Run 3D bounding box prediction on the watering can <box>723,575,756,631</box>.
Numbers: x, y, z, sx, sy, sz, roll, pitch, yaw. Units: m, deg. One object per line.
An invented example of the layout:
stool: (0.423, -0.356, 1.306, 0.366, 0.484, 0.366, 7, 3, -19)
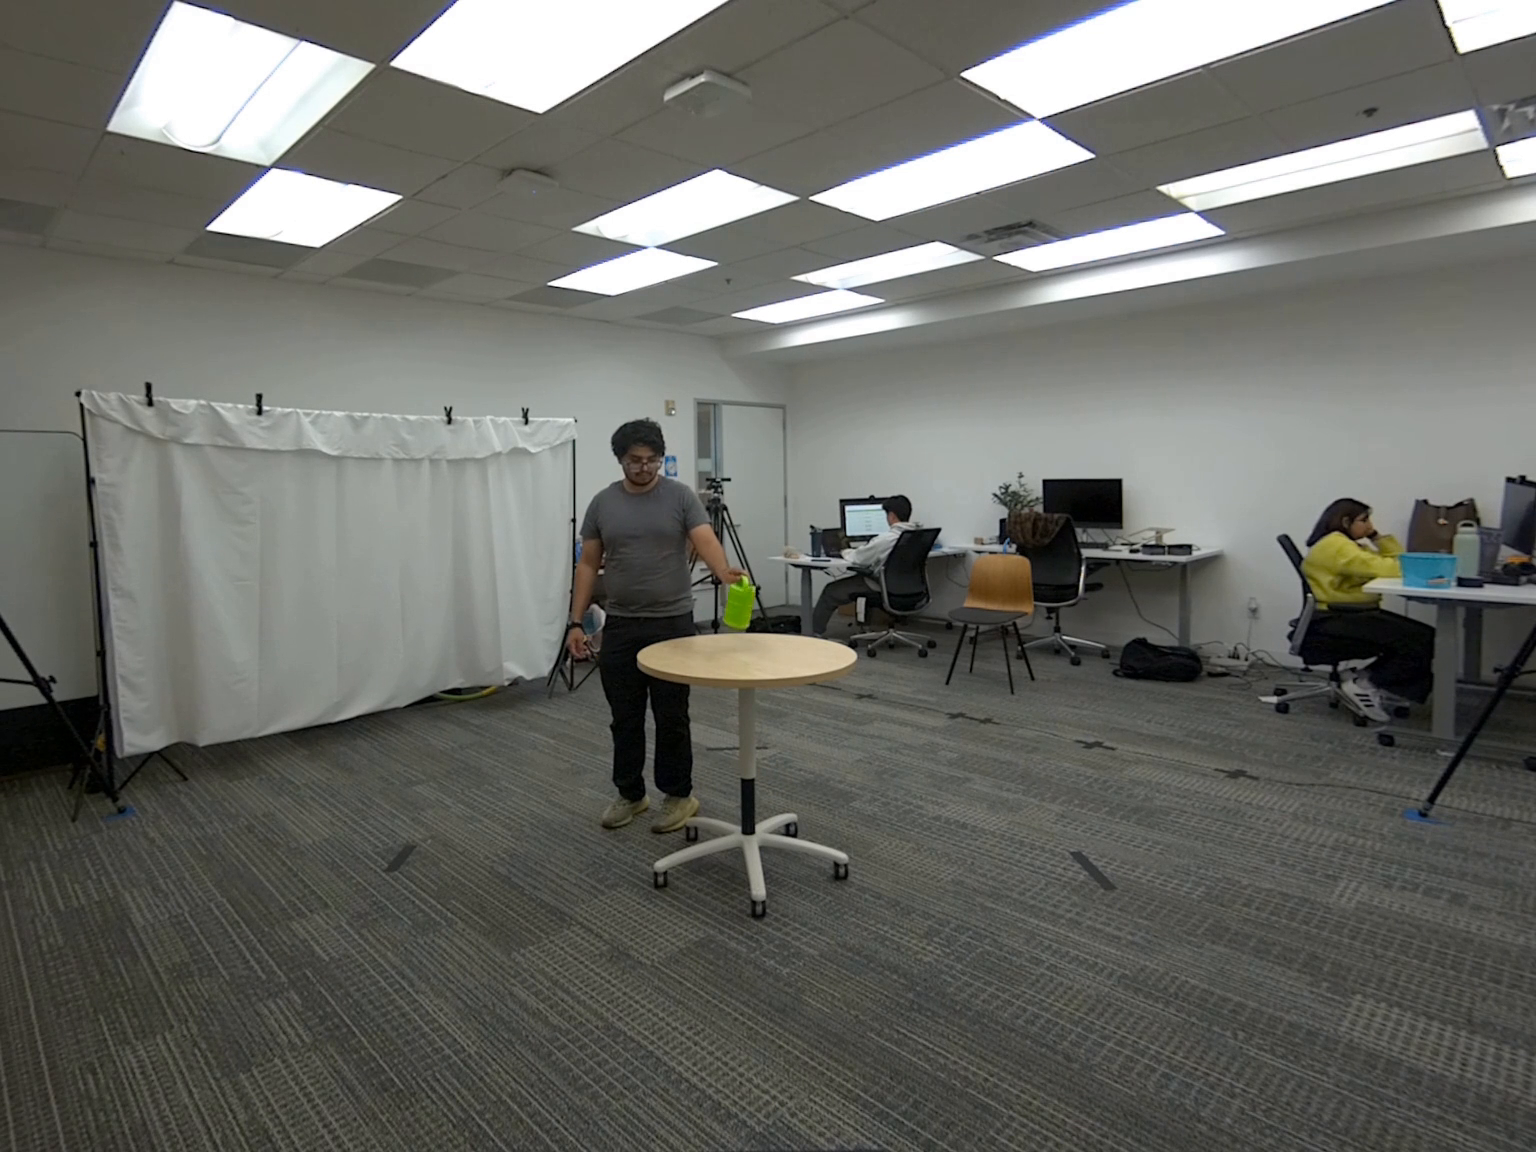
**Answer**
watering can: (-0.100, 0.094, 2.979, 0.098, 0.176, 0.278, 9, 8, 2)
